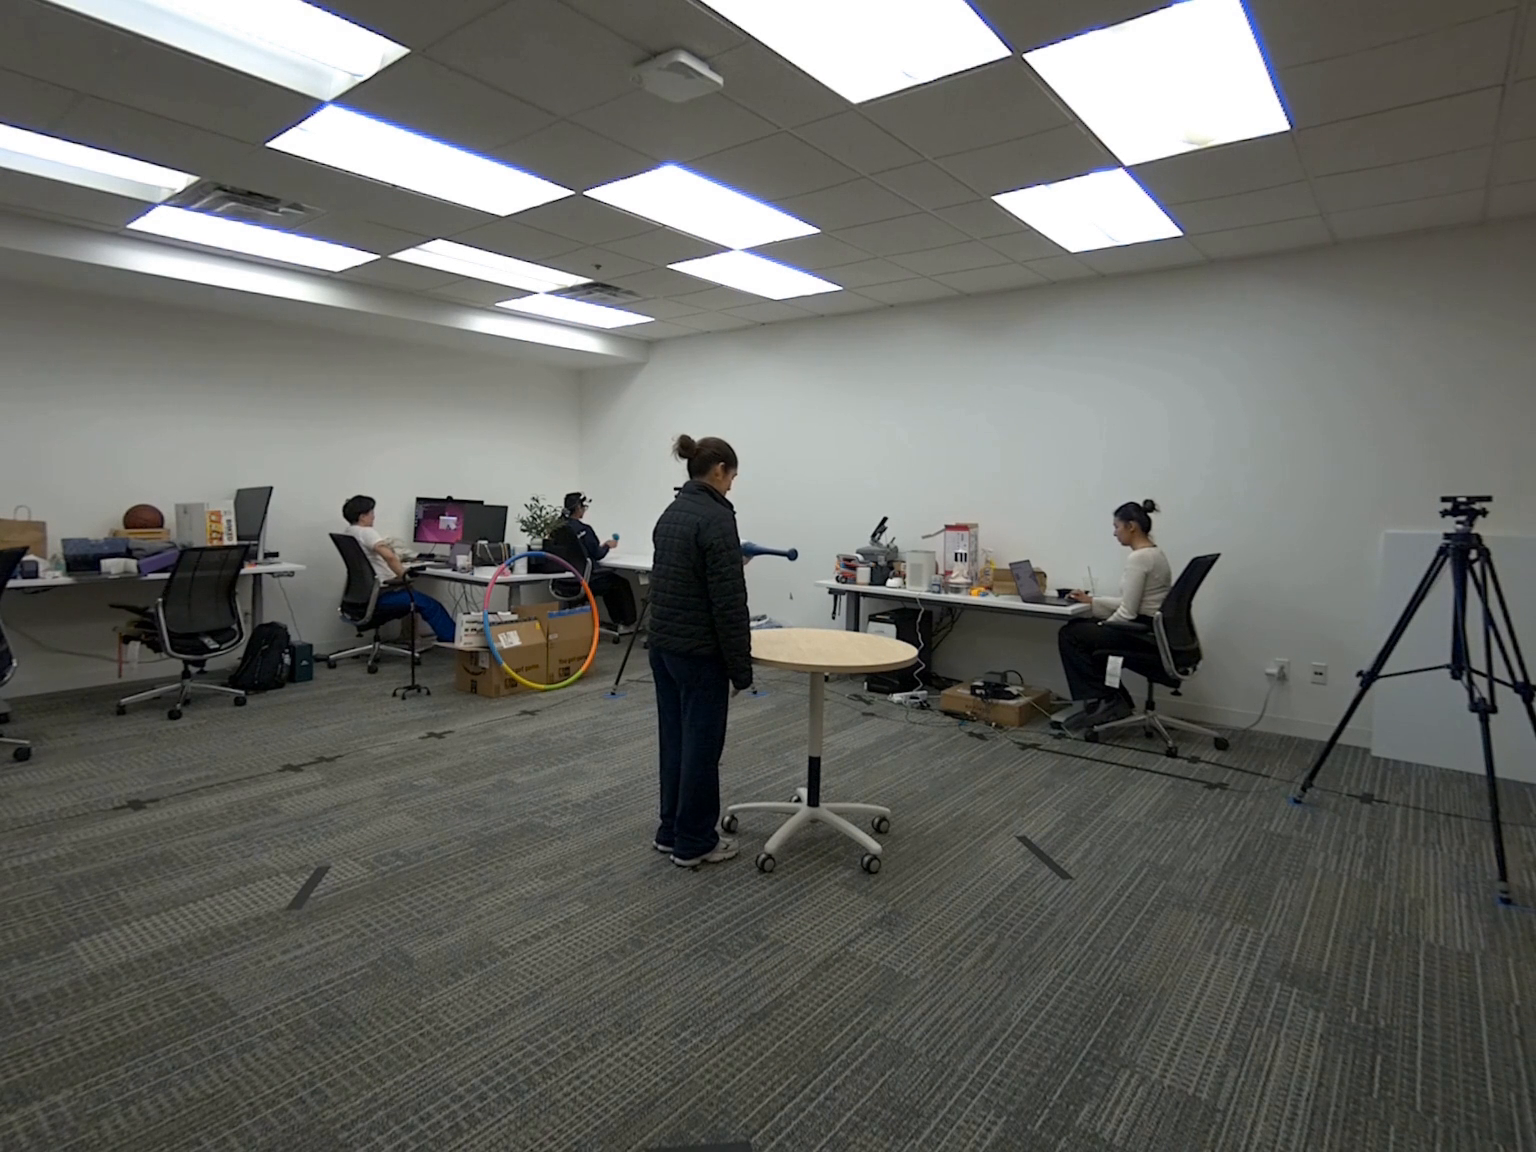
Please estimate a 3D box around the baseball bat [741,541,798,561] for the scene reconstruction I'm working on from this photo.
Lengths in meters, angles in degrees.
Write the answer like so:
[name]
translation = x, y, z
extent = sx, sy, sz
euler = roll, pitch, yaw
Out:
[baseball bat]
translation = -0.064, -0.109, 3.491
extent = 0.086, 0.089, 0.561
euler = -2, 7, -36
